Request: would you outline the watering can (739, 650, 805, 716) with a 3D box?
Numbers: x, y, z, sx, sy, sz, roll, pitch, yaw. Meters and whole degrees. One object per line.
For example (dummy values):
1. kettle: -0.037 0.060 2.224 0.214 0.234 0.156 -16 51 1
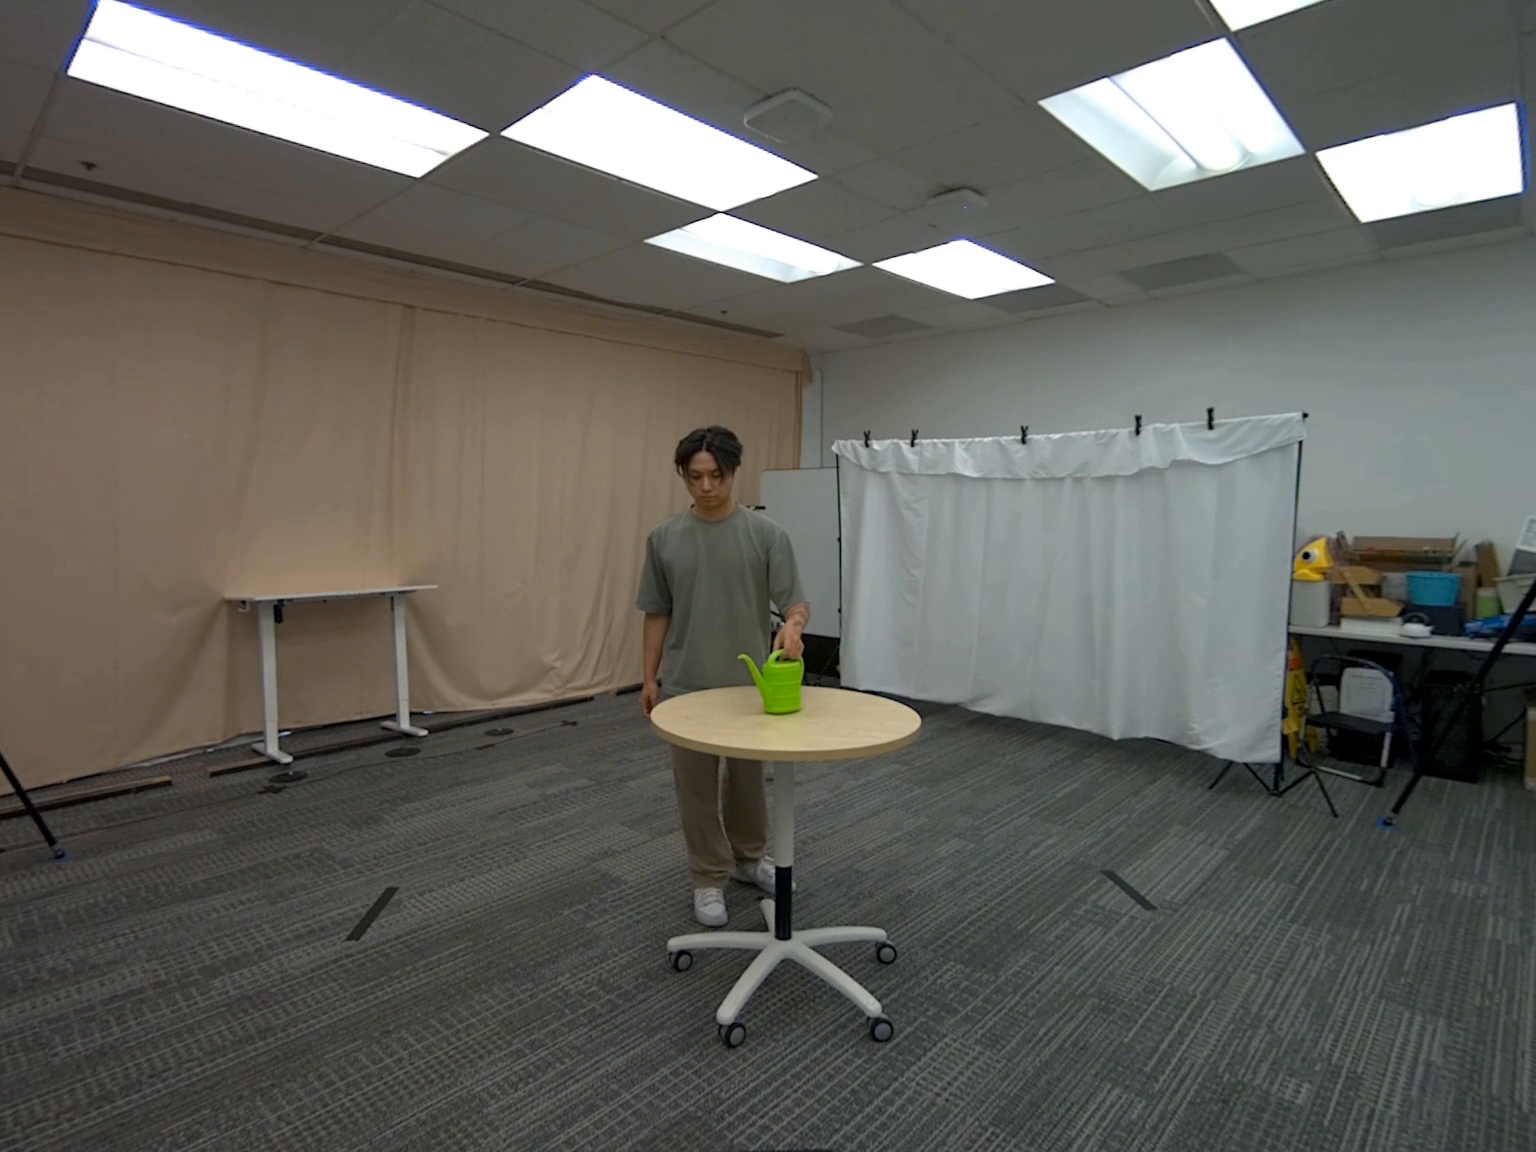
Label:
1. watering can: 0.007 0.307 2.416 0.270 0.176 0.101 -3 3 -35
